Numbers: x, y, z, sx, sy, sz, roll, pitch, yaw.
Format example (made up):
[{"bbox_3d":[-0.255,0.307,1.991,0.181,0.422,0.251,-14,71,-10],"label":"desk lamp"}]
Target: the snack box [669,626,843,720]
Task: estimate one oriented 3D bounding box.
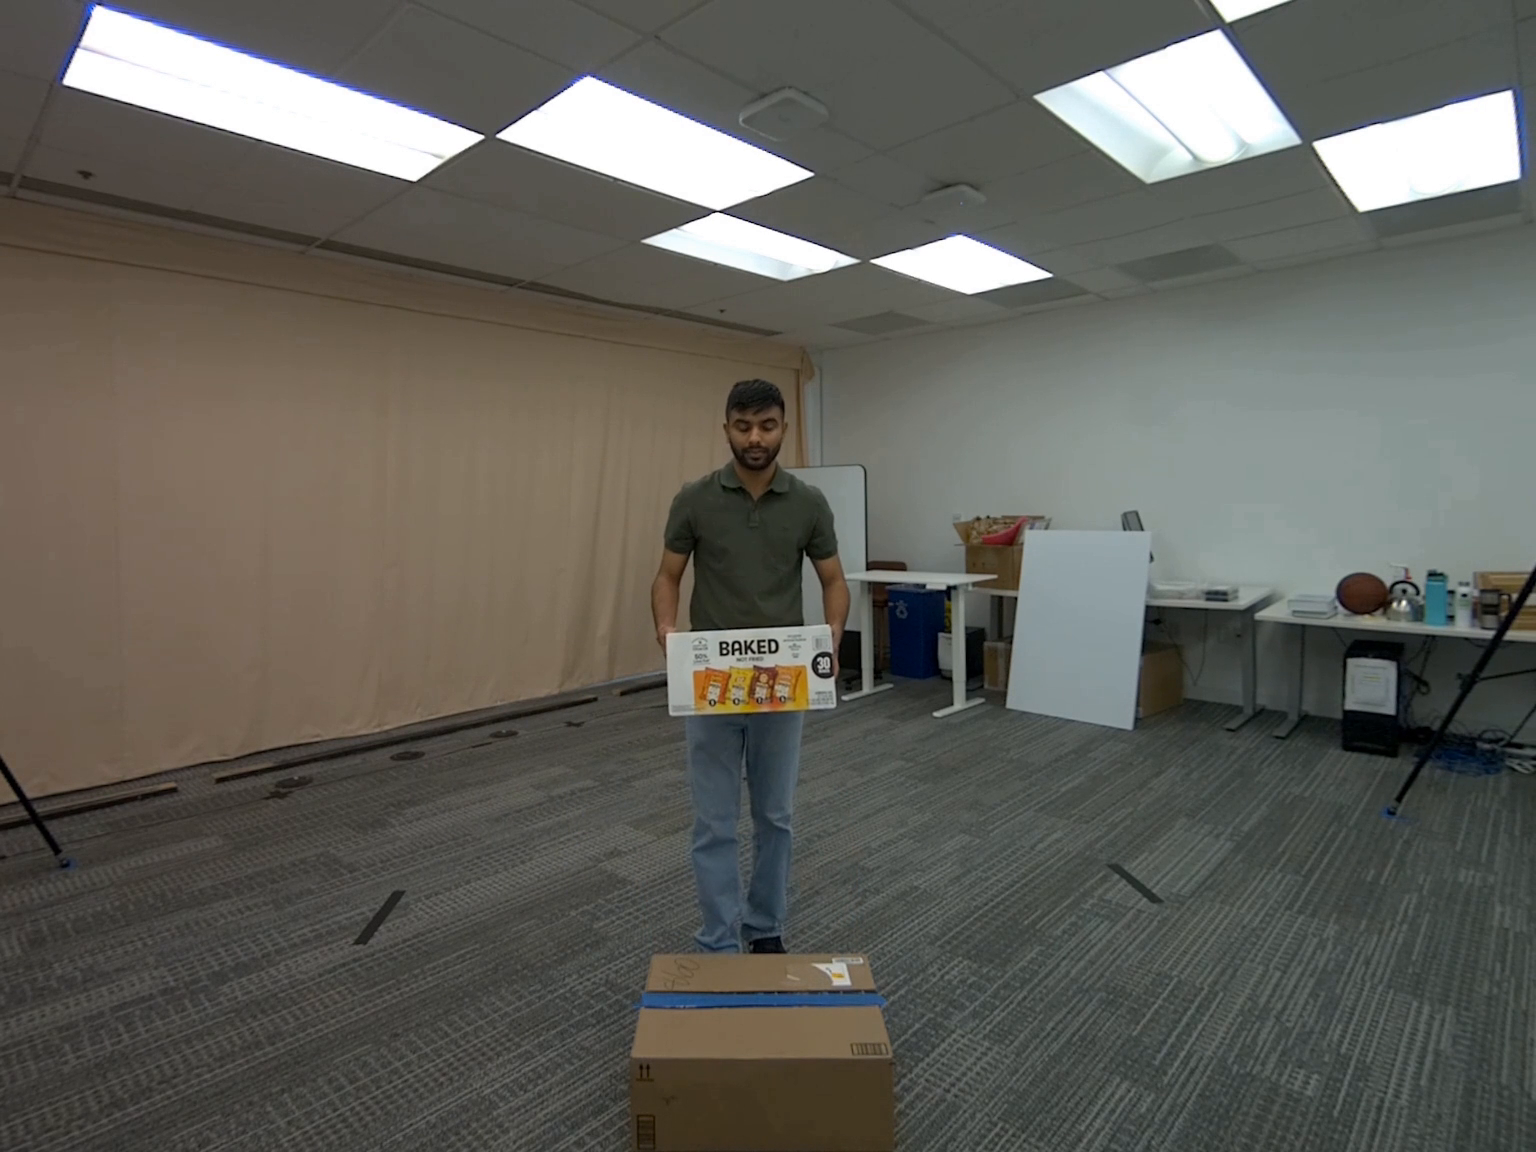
[{"bbox_3d":[-0.035,0.246,2.207,0.406,0.206,0.338,-3,-5,1],"label":"snack box"}]
